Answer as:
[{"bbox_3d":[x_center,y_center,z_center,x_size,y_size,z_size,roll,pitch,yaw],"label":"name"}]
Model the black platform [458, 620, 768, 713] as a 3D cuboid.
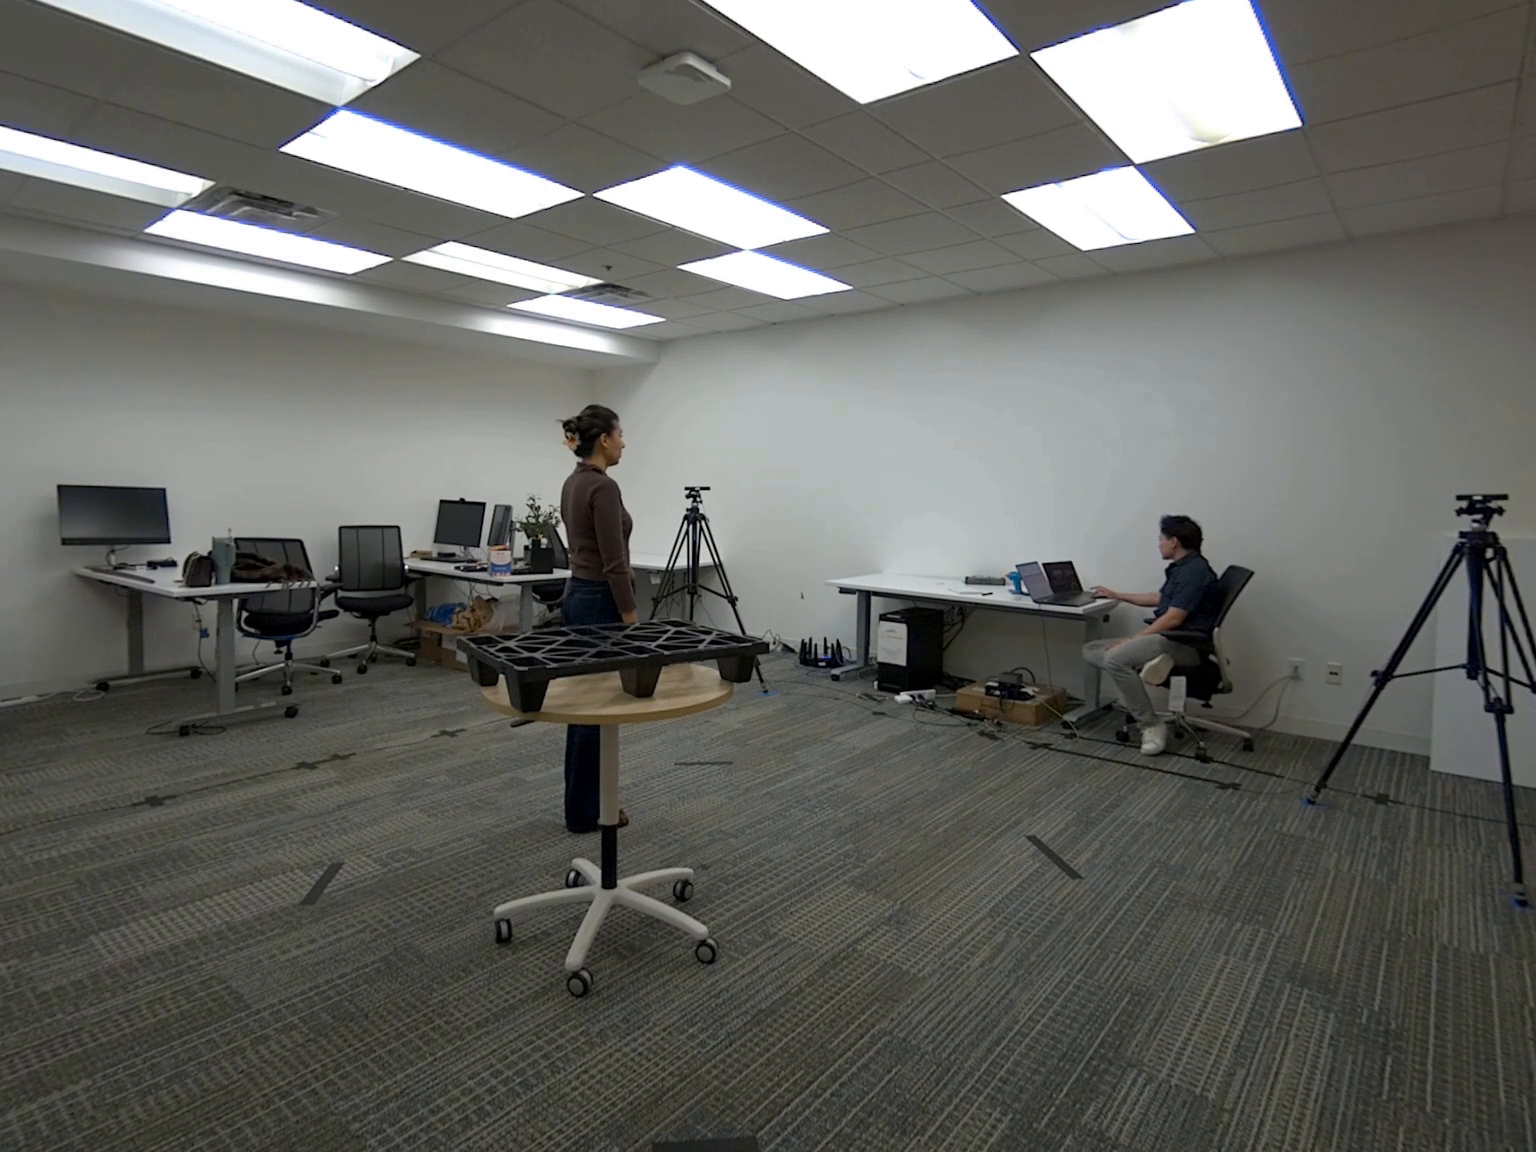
[{"bbox_3d":[-0.496,0.264,2.625,0.783,0.143,0.624,-4,6,-34],"label":"black platform"}]
